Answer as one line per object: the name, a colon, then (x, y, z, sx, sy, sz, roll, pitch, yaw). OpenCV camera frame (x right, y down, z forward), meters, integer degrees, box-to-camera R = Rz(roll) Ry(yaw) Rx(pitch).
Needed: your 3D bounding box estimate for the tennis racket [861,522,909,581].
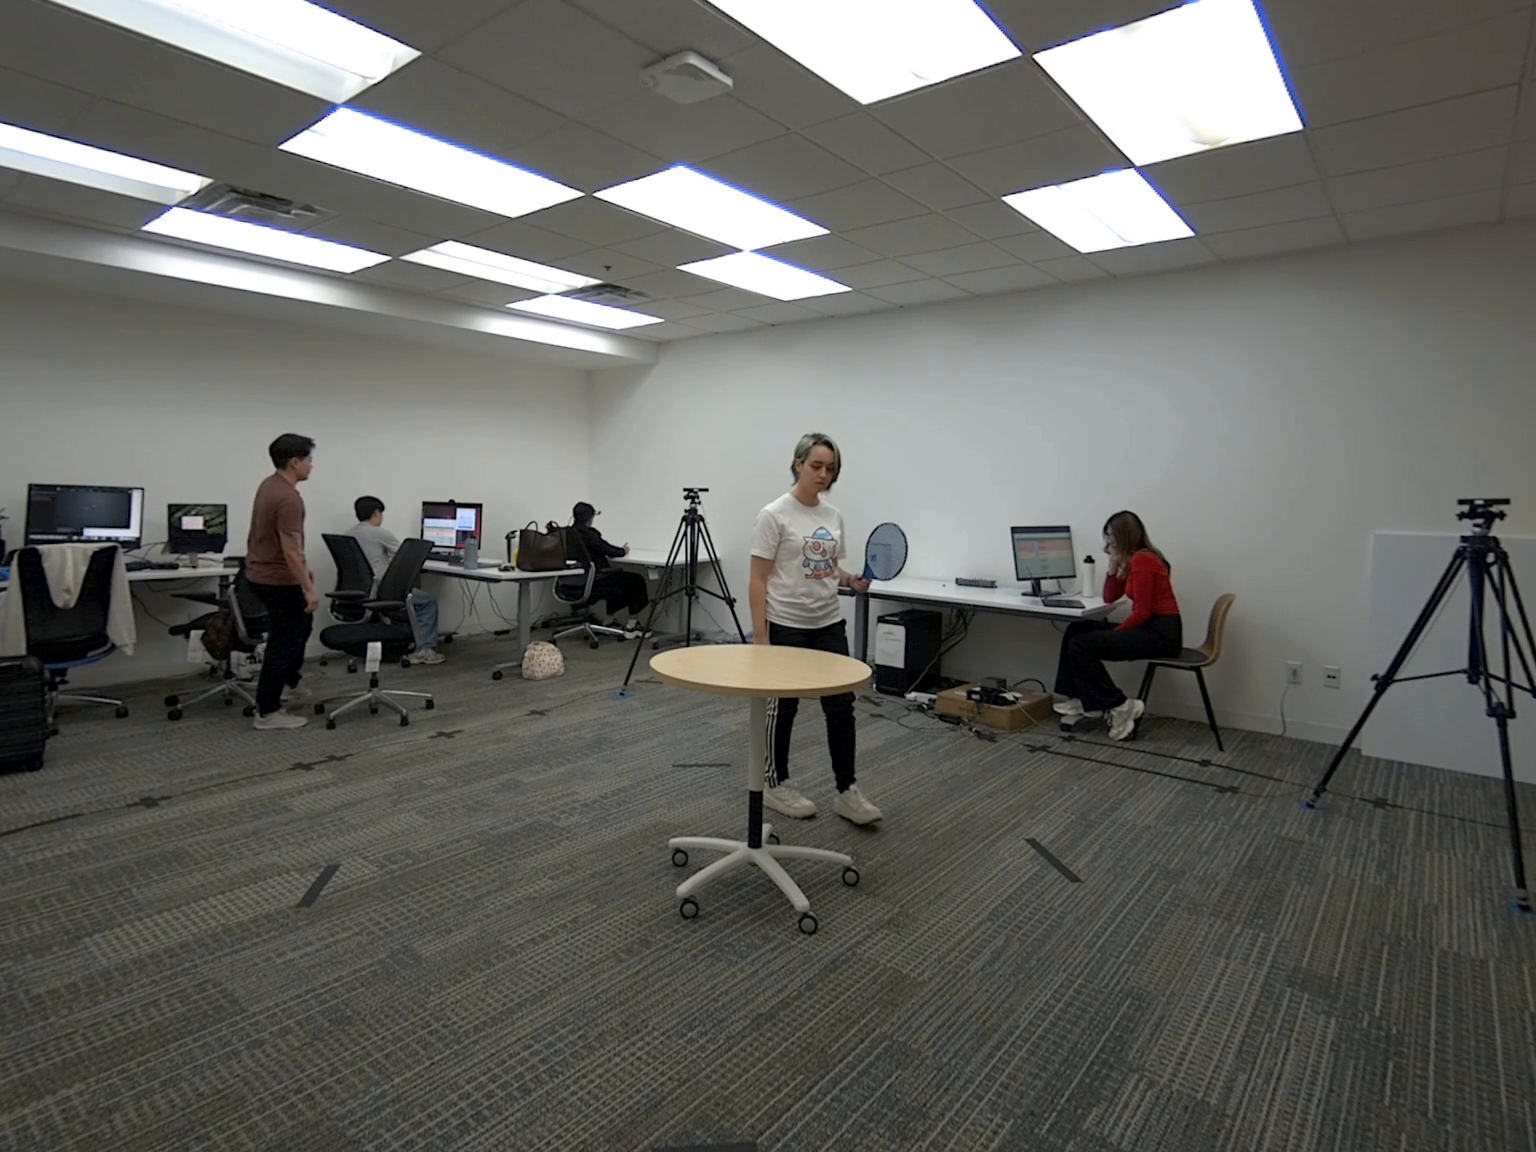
tennis racket: (0.432, -0.048, 3.441, 0.031, 0.221, 0.429, -6, -33, -30)
